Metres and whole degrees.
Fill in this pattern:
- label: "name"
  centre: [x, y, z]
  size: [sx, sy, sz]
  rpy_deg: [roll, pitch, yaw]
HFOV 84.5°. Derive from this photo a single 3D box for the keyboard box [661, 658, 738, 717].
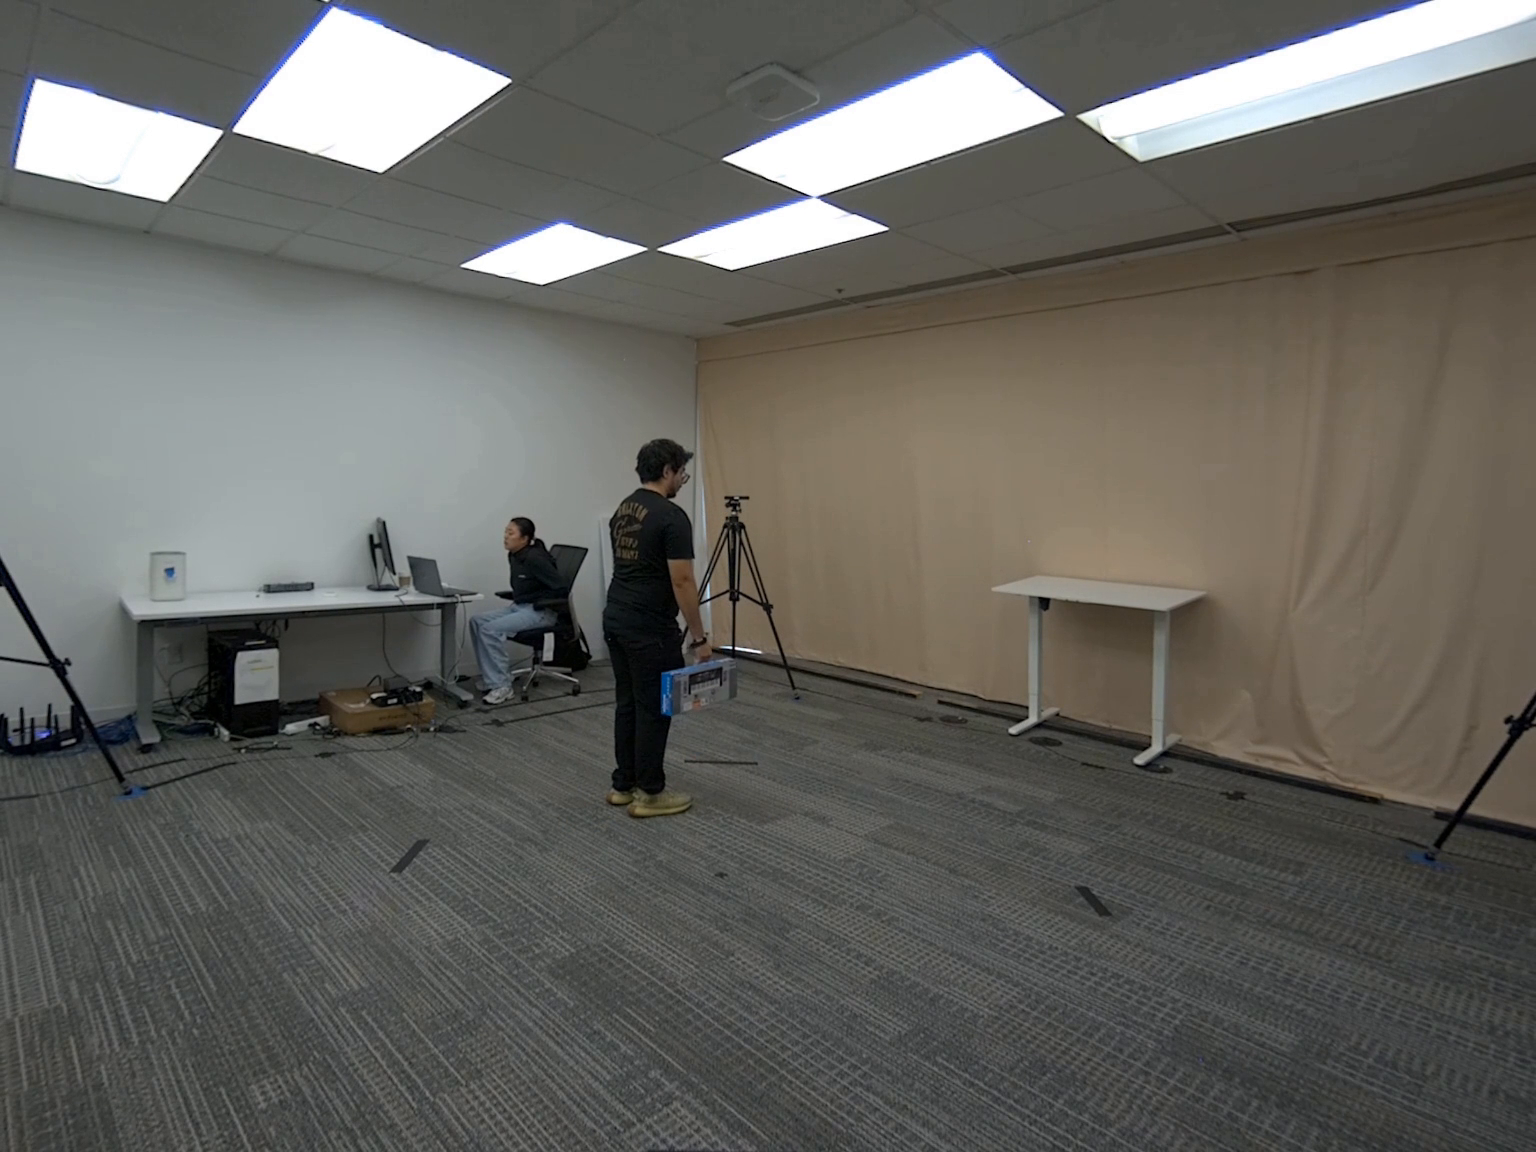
- label: "keyboard box"
  centre: [-0.295, 0.471, 3.607]
  size: [0.060, 0.175, 0.428]
  rpy_deg: [4, 6, 36]
